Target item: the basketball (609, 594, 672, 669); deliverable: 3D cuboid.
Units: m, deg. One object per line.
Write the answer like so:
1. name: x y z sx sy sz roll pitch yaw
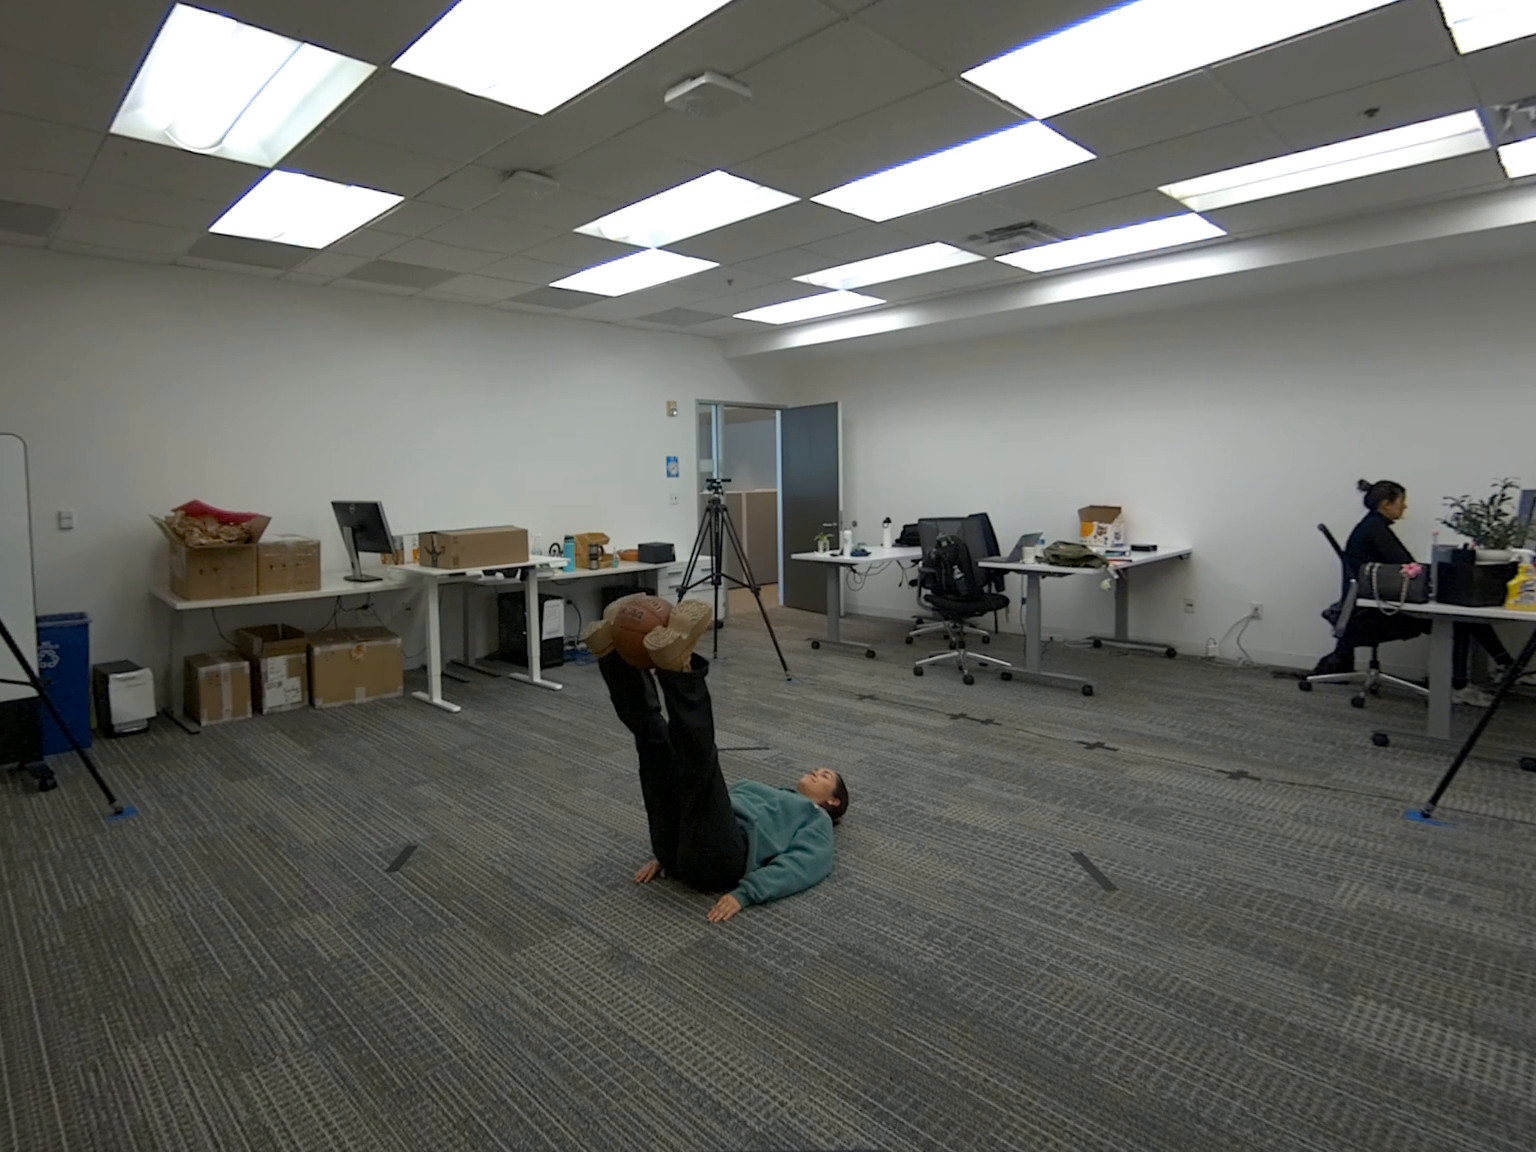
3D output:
1. basketball: -0.388 0.184 2.770 0.236 0.235 0.237 -1 4 -2
